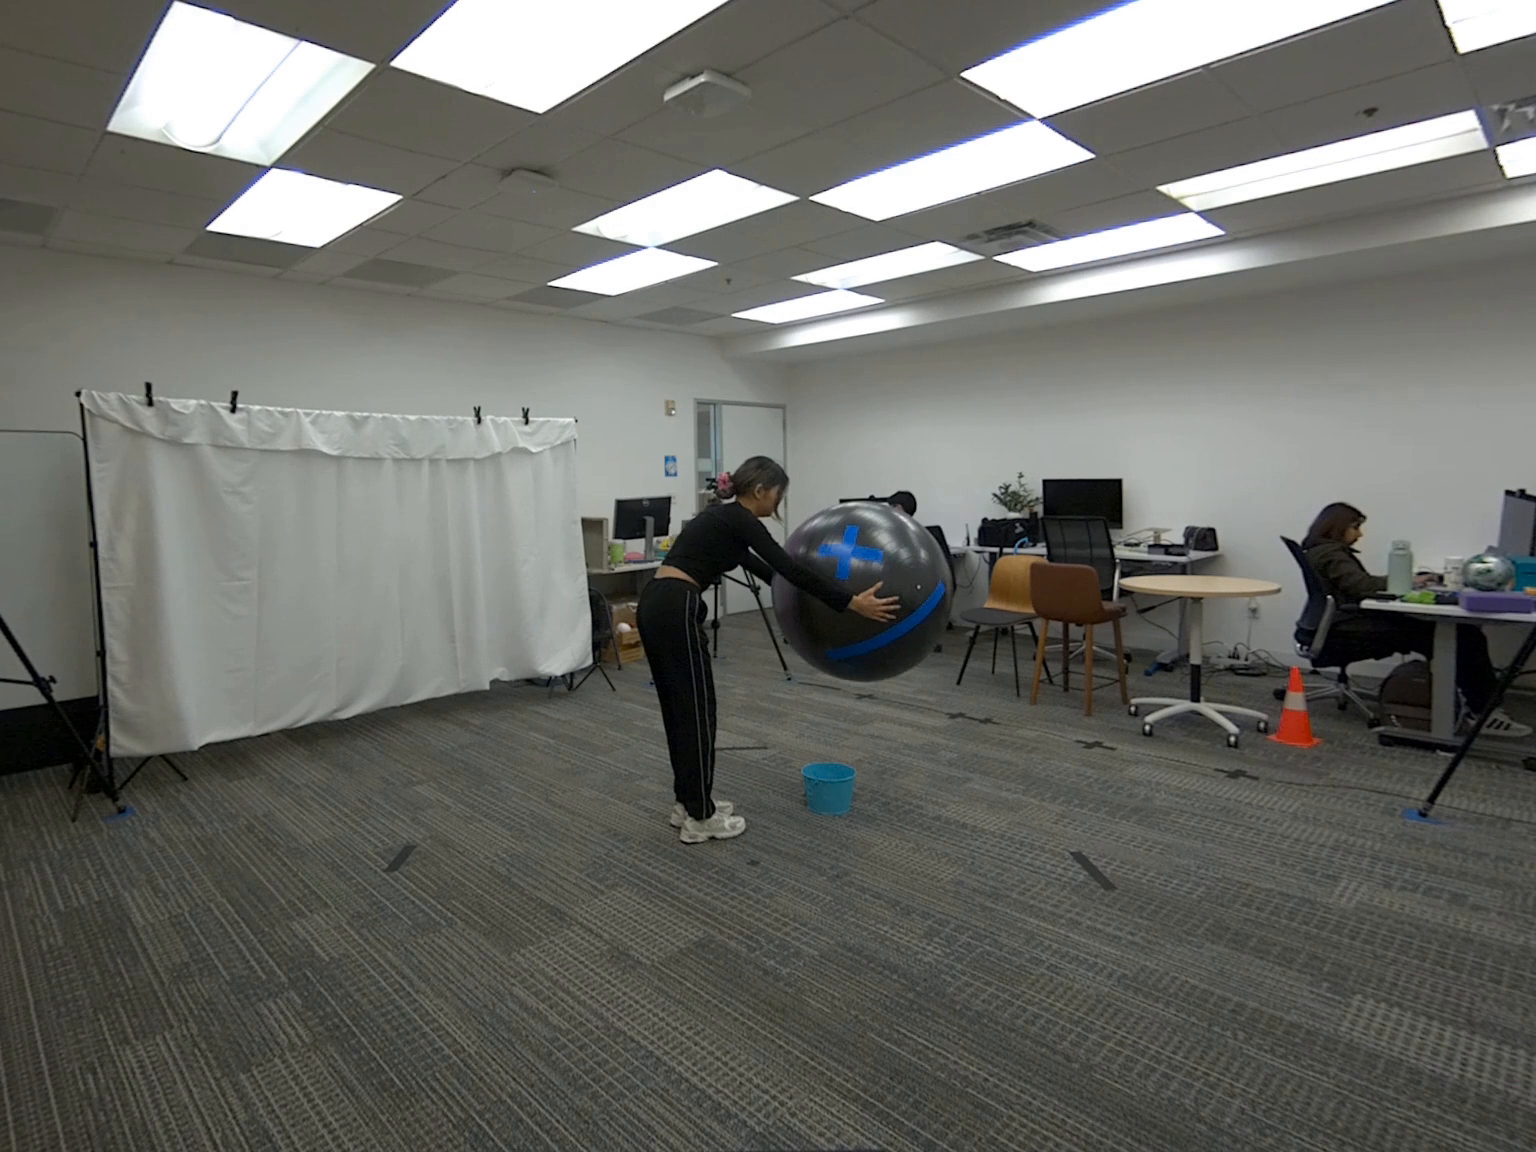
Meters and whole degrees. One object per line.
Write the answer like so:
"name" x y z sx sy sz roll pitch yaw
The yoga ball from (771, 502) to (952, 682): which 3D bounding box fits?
"yoga ball" 0.396 0.067 3.626 0.757 0.755 0.762 -1 5 -2
